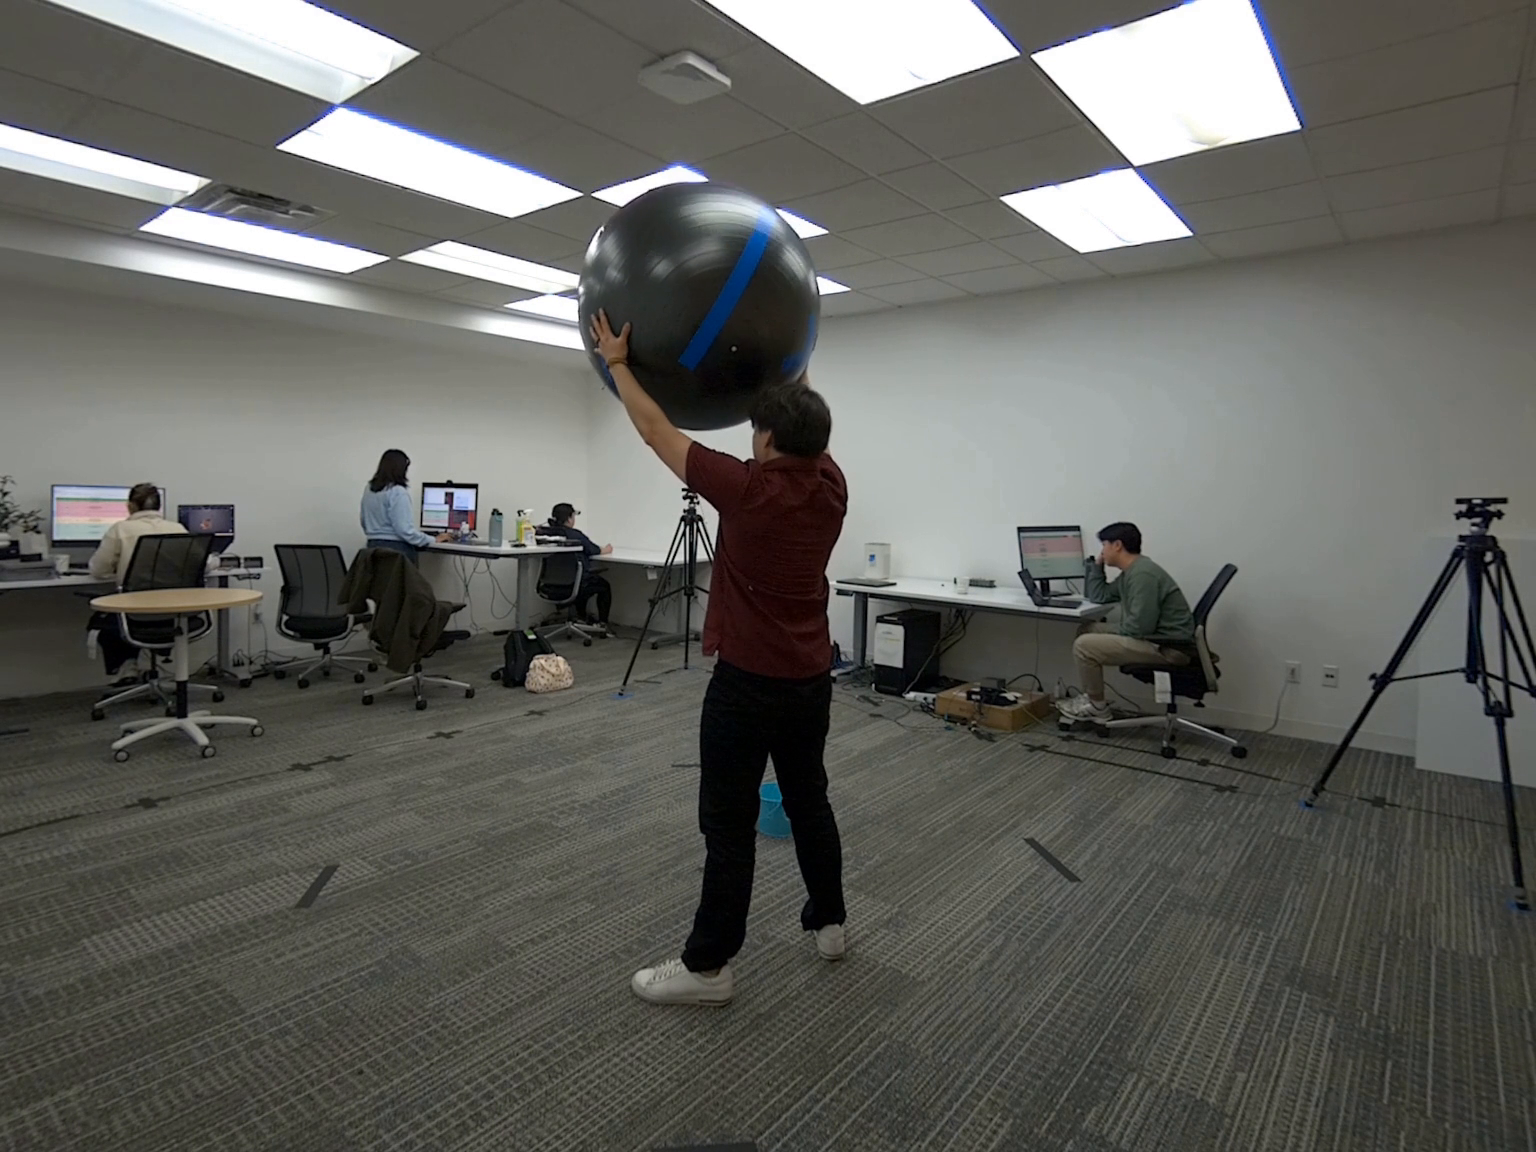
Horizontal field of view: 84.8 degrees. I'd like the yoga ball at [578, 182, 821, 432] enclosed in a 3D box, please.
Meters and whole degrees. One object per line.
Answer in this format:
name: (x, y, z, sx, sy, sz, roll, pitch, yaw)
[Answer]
yoga ball: (-0.230, -0.825, 2.675, 0.757, 0.756, 0.762, 1, 4, -2)
